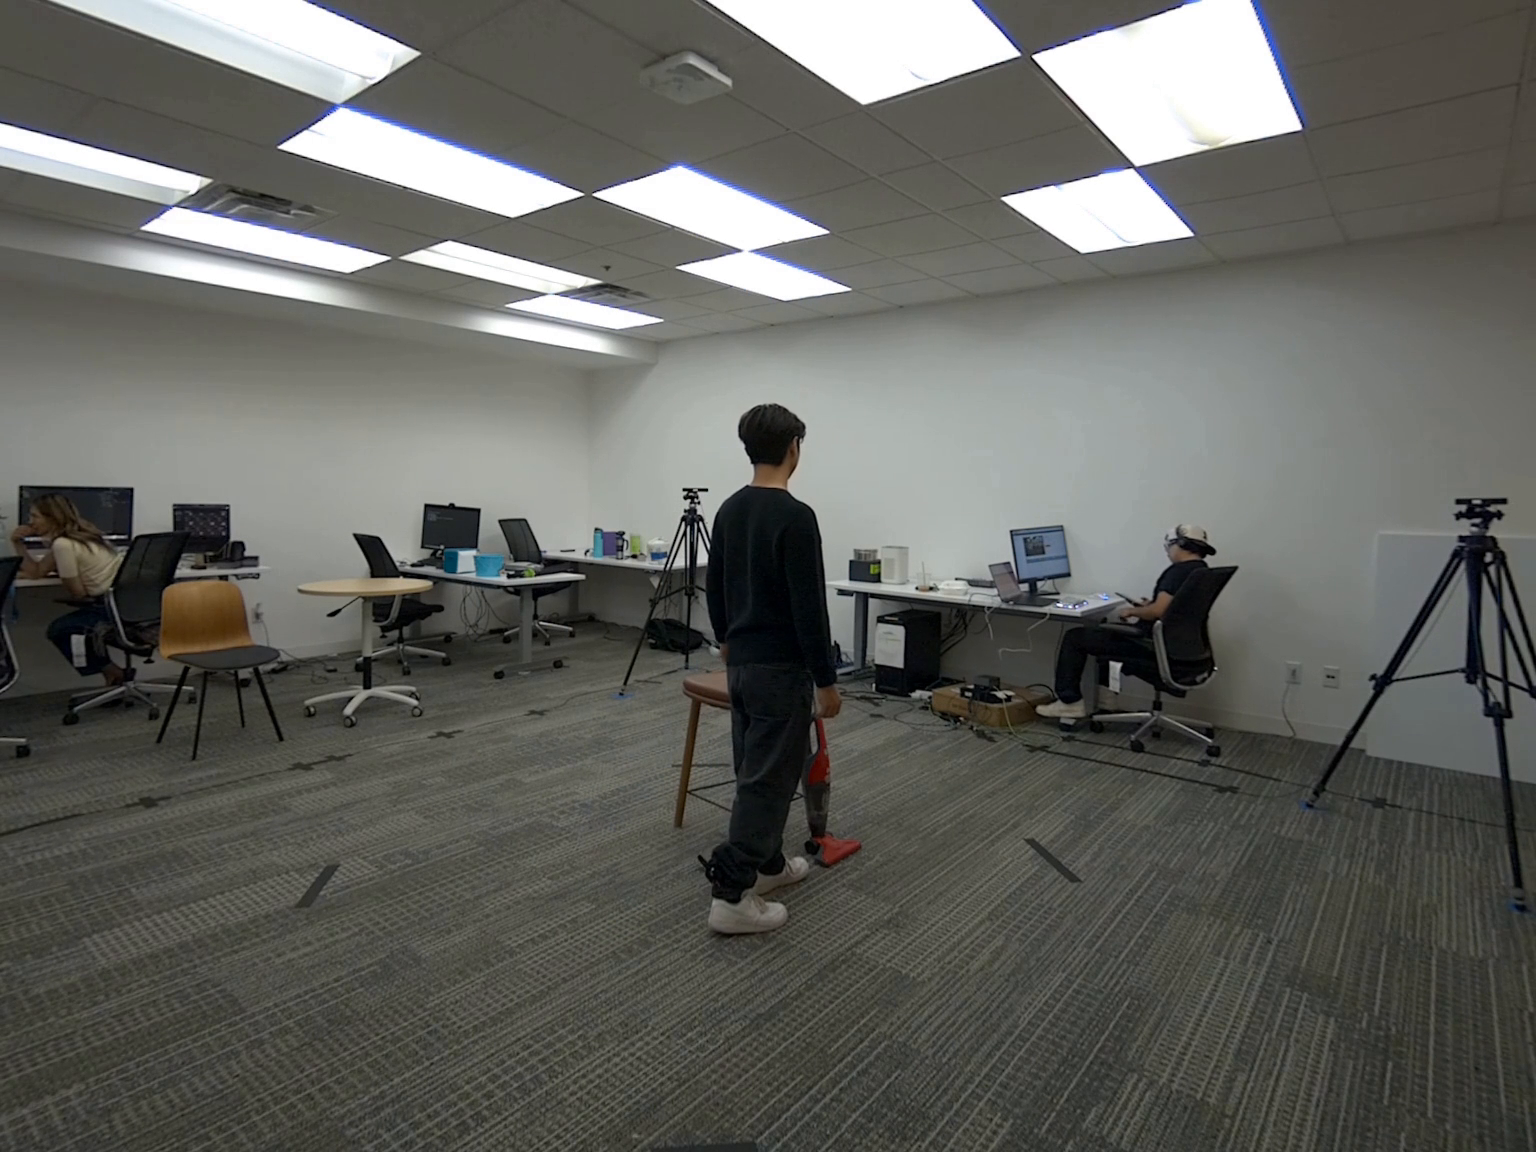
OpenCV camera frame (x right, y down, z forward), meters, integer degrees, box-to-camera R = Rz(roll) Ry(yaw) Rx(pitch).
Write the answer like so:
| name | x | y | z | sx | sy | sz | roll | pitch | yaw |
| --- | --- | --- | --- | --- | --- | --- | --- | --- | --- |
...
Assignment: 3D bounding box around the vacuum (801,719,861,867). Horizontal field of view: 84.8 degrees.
| name | x | y | z | sx | sy | sz | roll | pitch | yaw |
| --- | --- | --- | --- | --- | --- | --- | --- | --- | --- |
| vacuum | 0.160 | 0.553 | 3.337 | 0.147 | 1.057 | 0.245 | -14 | -8 | 42 |
